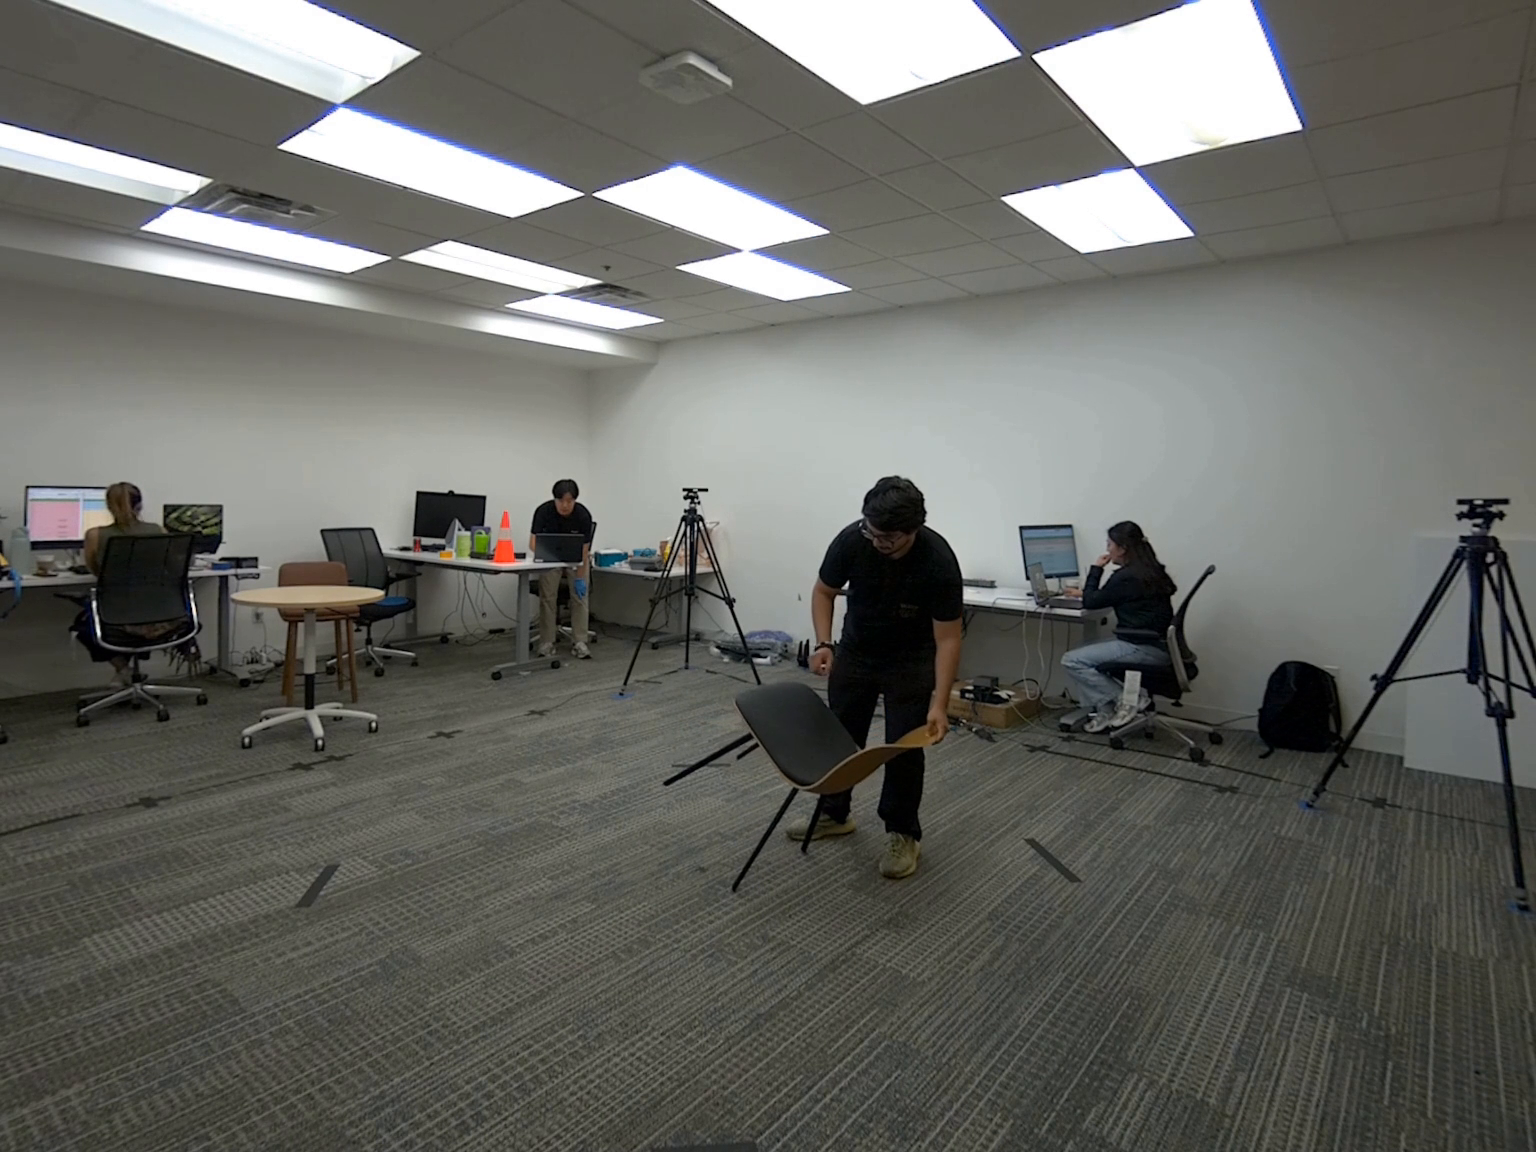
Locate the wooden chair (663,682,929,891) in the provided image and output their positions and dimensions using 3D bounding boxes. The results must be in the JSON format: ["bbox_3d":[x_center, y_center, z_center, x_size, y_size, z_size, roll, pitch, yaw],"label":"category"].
[{"bbox_3d":[0.100,0.616,3.008,0.464,0.539,0.877,-2,-38,-52],"label":"wooden chair"}]
